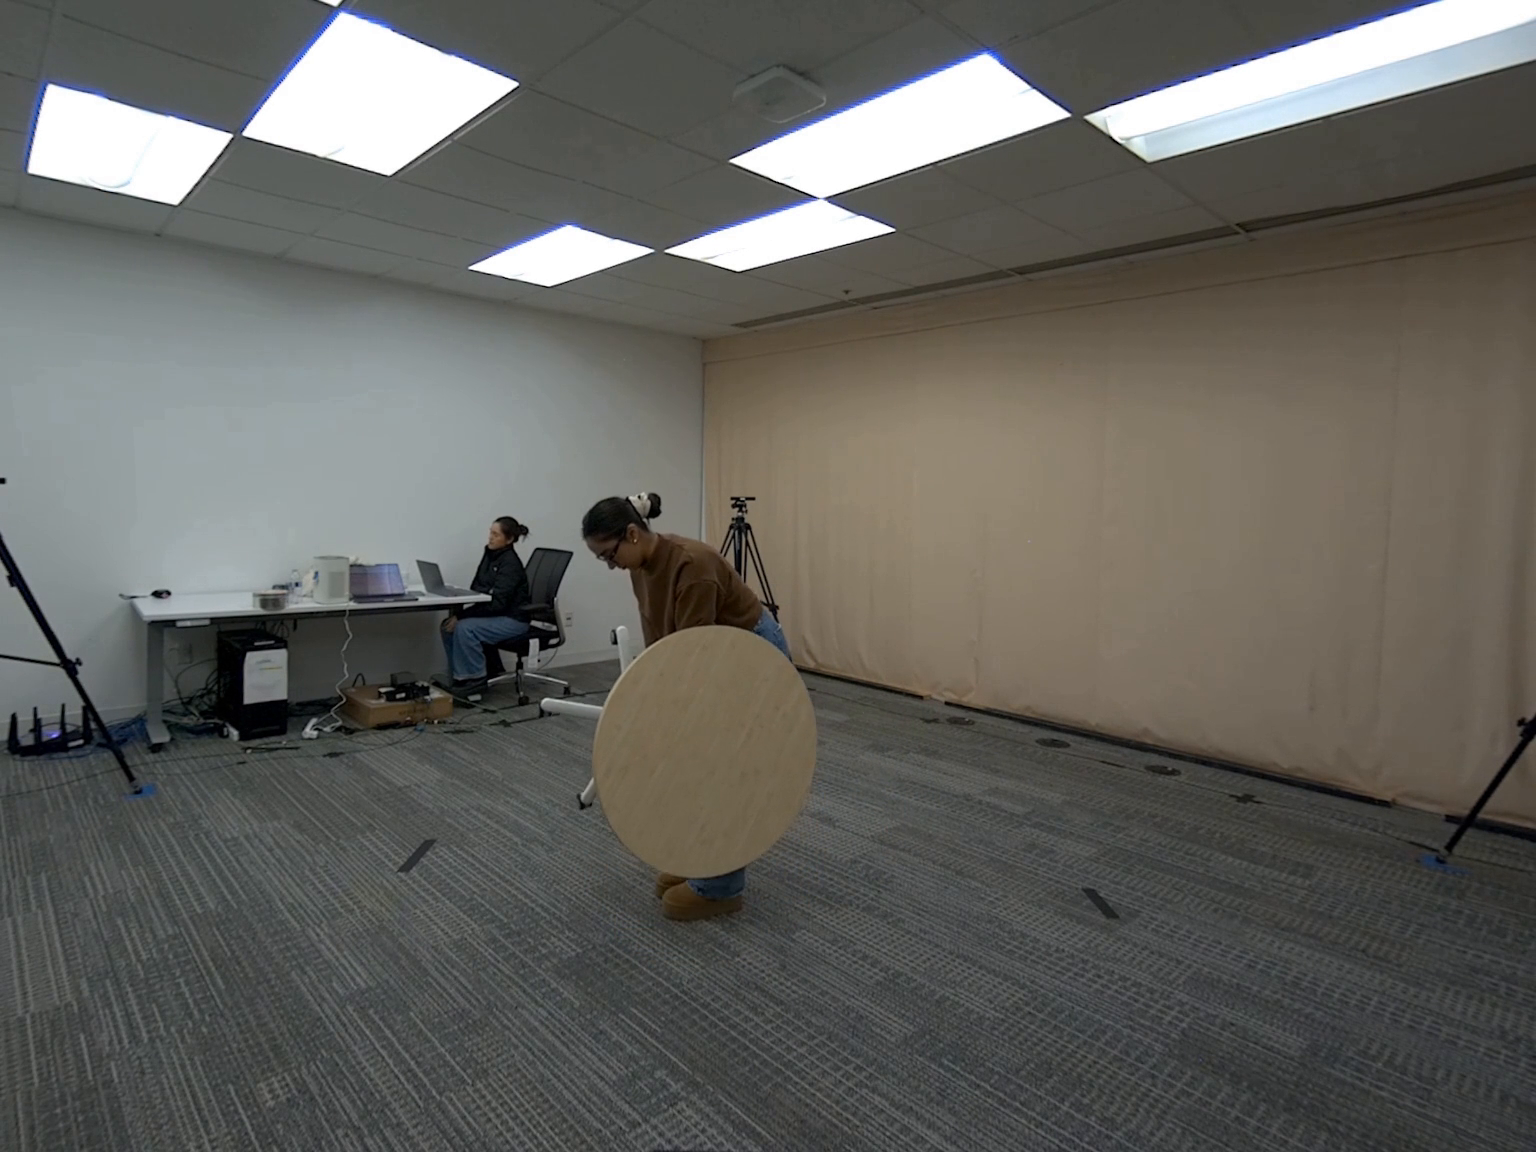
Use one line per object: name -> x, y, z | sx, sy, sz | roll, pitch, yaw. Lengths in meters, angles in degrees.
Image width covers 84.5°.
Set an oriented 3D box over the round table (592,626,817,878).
round table -> -0.380, 0.550, 2.947 | 0.749, 0.765, 0.809 | -1, -1, -29
